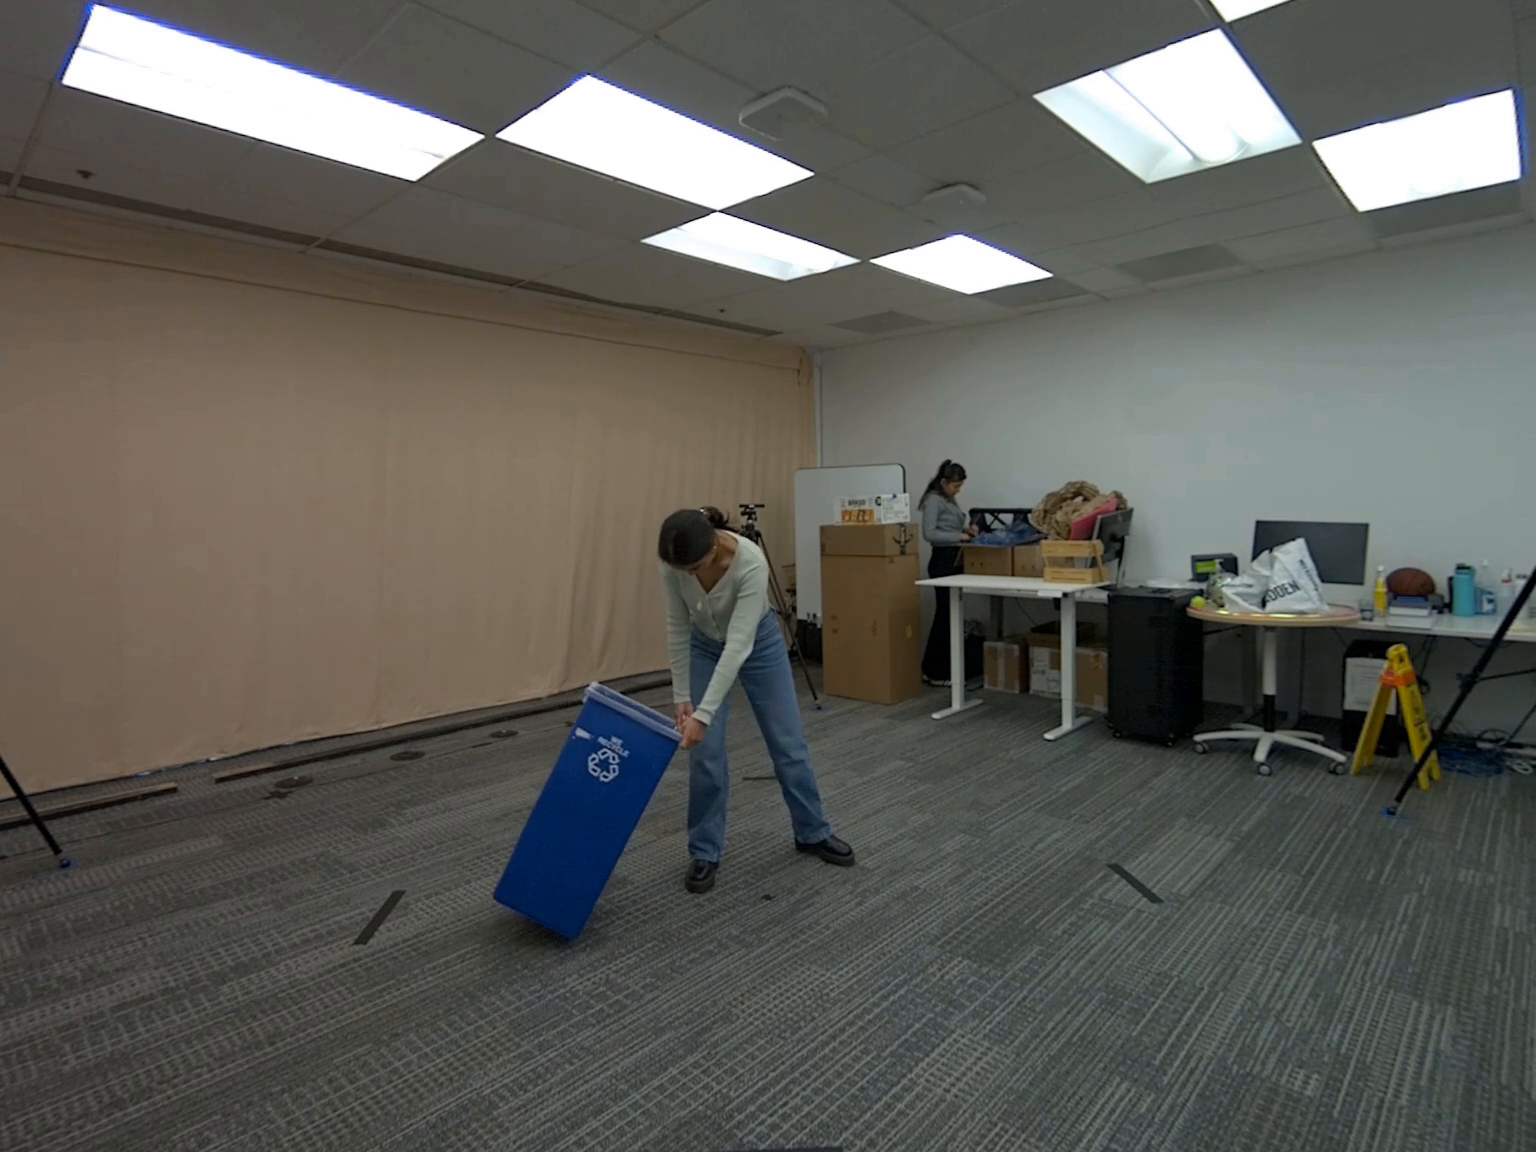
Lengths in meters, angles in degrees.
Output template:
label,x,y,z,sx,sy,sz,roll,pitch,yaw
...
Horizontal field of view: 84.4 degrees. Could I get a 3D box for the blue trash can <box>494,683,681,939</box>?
label,x,y,z,sx,sy,sz,roll,pitch,yaw
blue trash can,-0.580,0.772,2.830,0.373,0.714,0.379,26,-7,-4
